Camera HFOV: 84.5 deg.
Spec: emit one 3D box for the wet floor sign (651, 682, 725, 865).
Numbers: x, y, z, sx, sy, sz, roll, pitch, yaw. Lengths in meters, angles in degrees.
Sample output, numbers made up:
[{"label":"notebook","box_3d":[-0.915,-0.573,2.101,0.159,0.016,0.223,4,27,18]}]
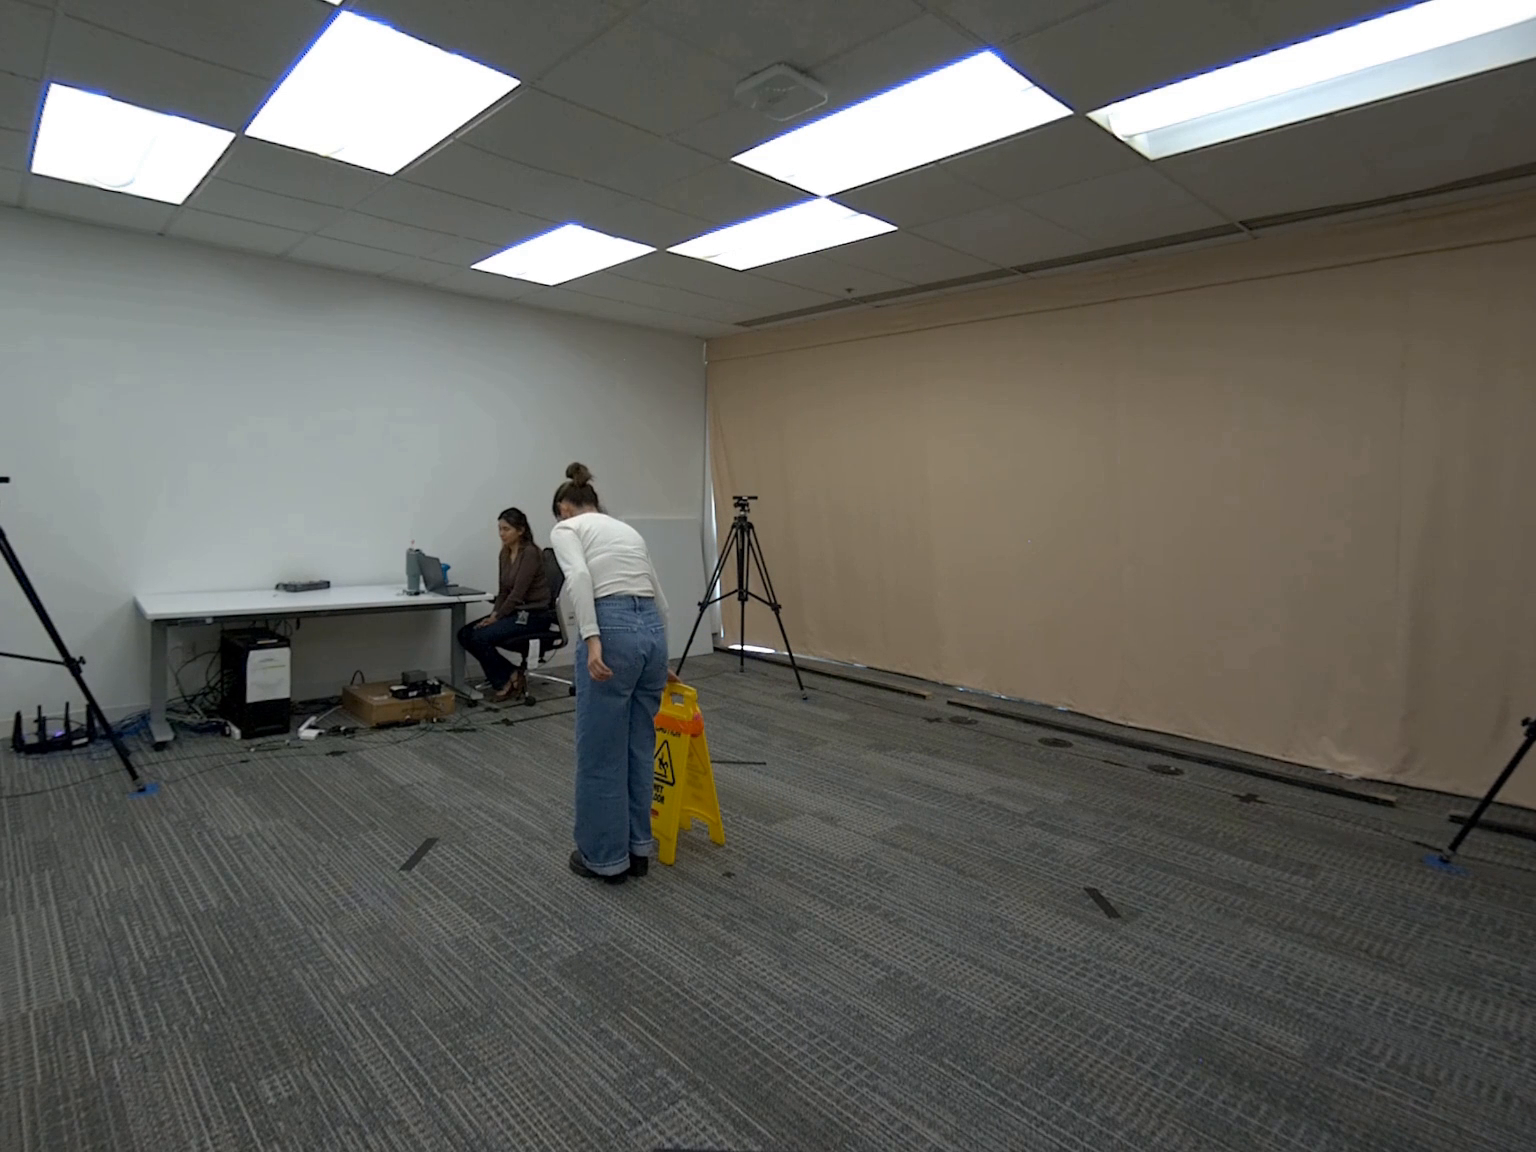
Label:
[{"label":"wet floor sign","box_3d":[-0.367,0.754,3.355,0.289,0.644,0.283,5,4,43]}]
